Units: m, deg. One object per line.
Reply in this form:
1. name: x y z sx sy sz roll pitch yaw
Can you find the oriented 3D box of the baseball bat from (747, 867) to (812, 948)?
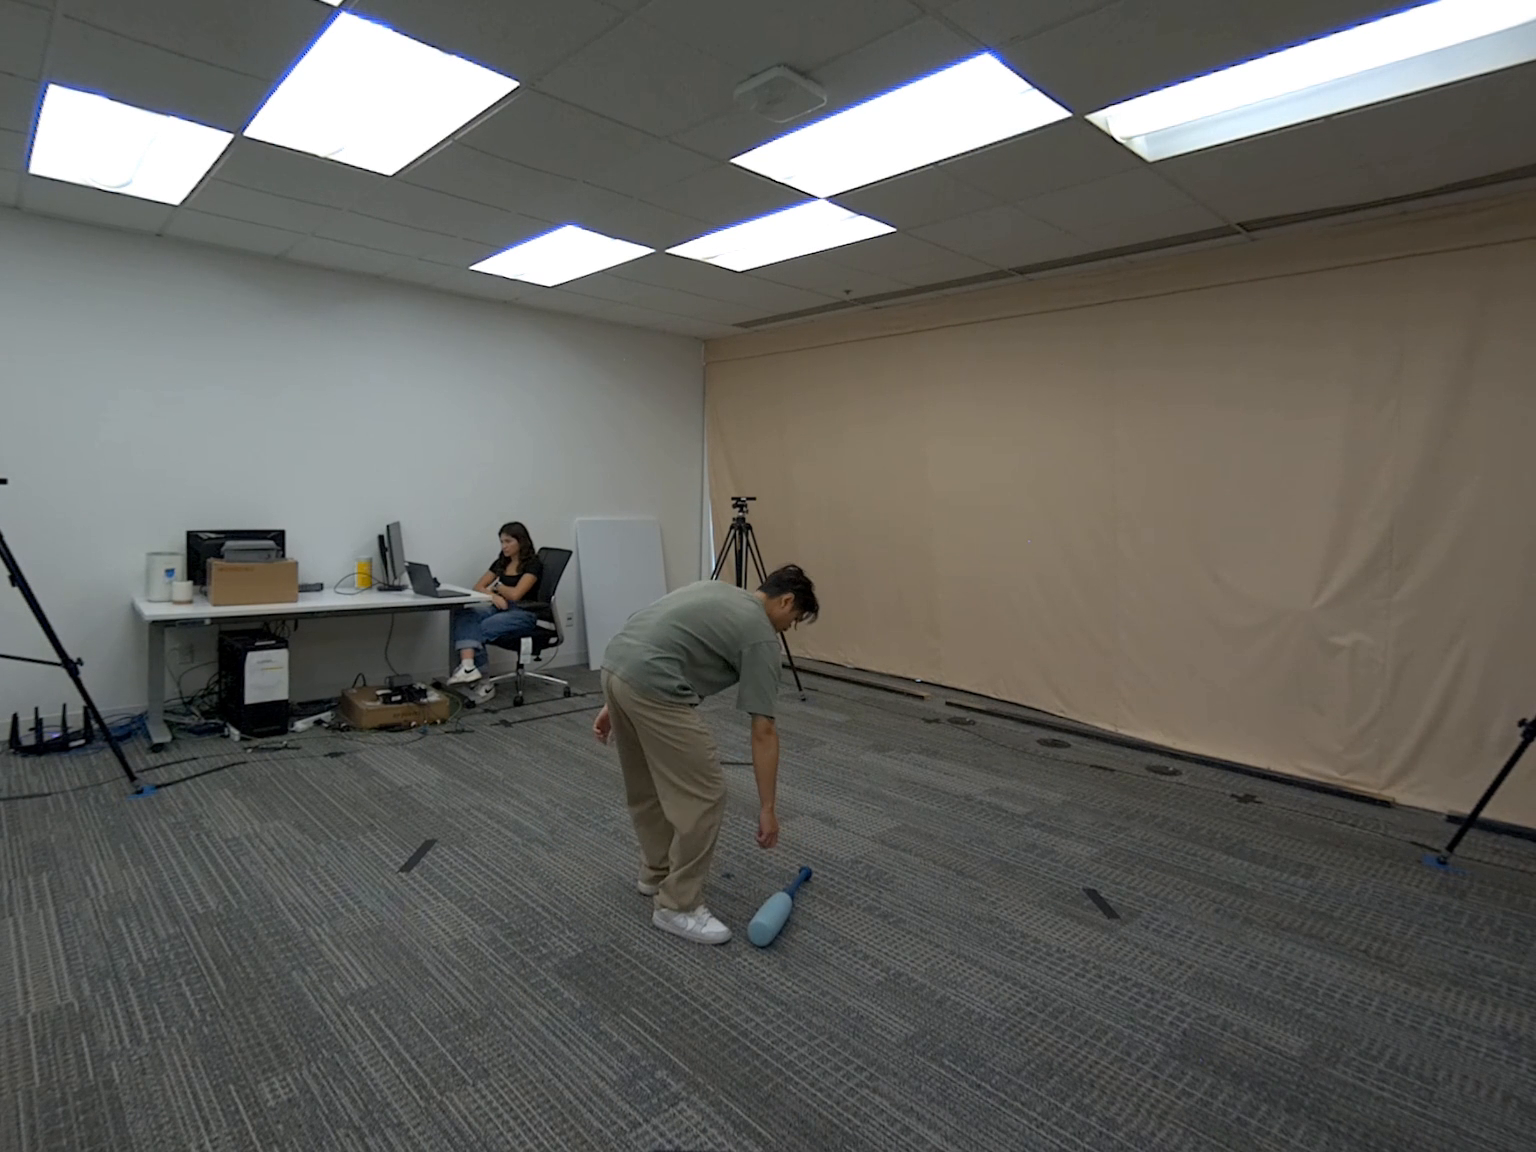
1. baseball bat: 0.047 1.092 2.843 0.090 0.089 0.535 3 3 18
